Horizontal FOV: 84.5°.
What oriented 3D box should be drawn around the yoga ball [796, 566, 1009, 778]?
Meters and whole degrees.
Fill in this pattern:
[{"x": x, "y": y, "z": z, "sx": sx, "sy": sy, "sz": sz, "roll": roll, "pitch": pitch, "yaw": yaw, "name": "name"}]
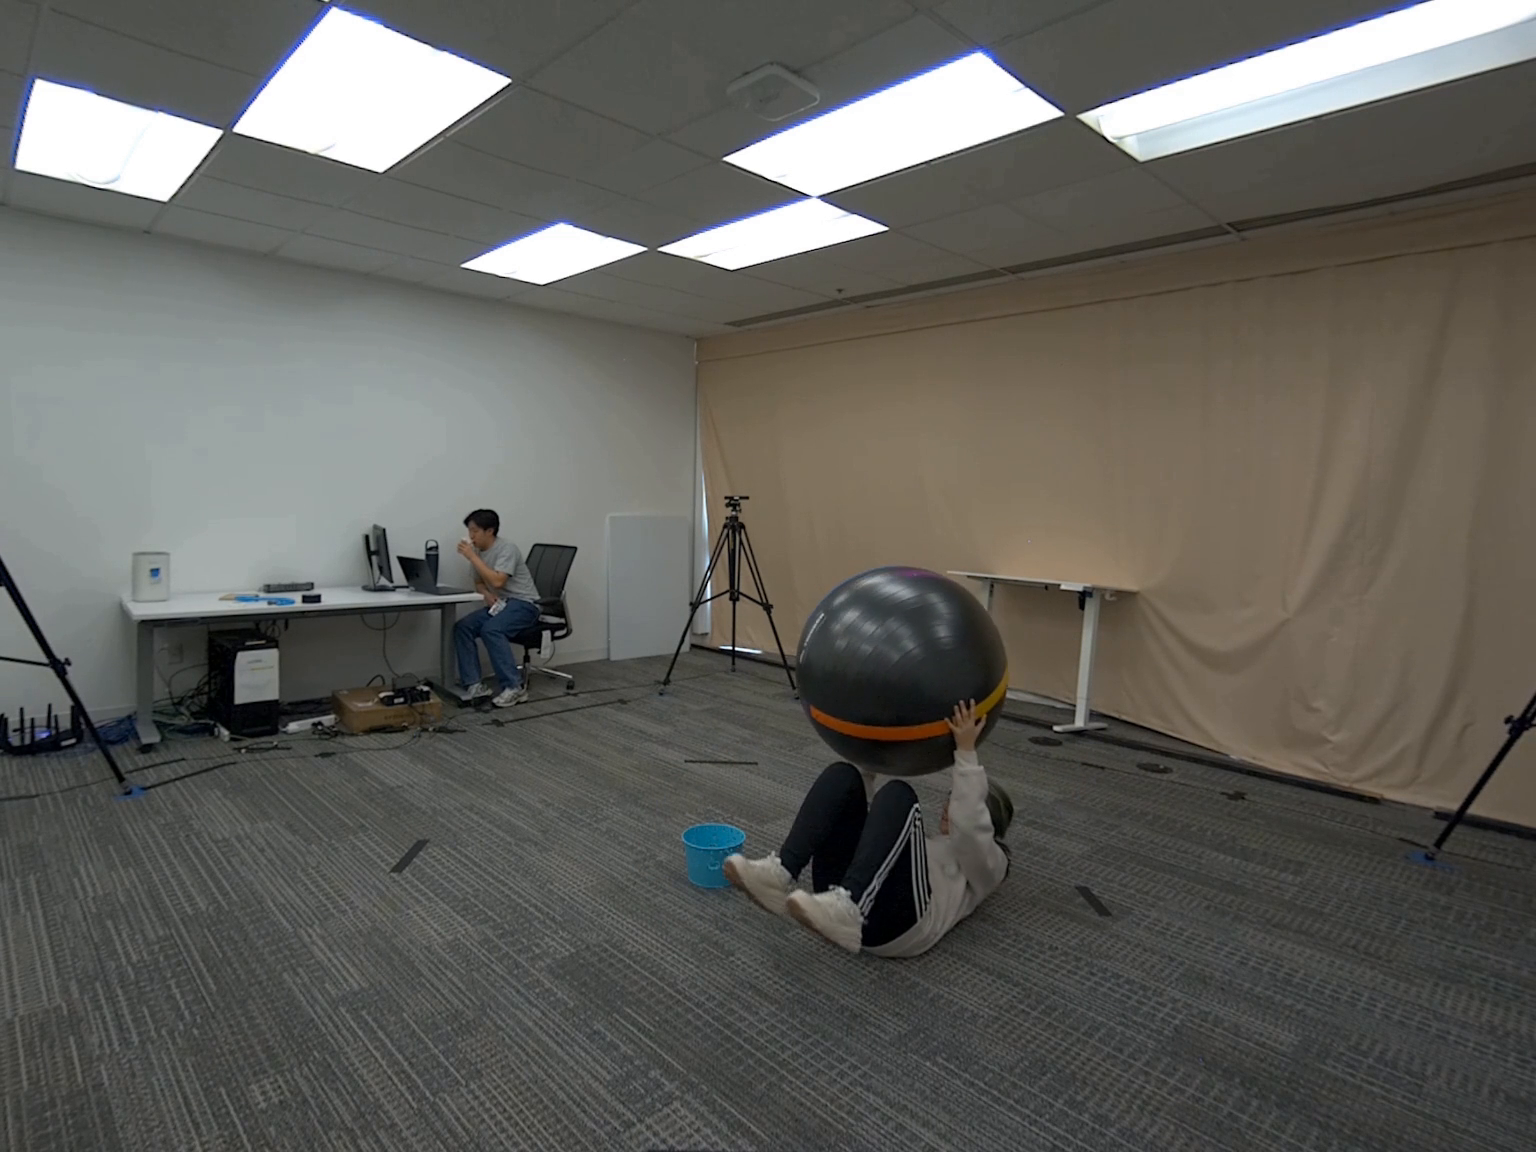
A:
[{"x": 0.476, "y": 0.347, "z": 3.084, "sx": 0.757, "sy": 0.756, "sz": 0.761, "roll": 1, "pitch": 4, "yaw": -1, "name": "yoga ball"}]
